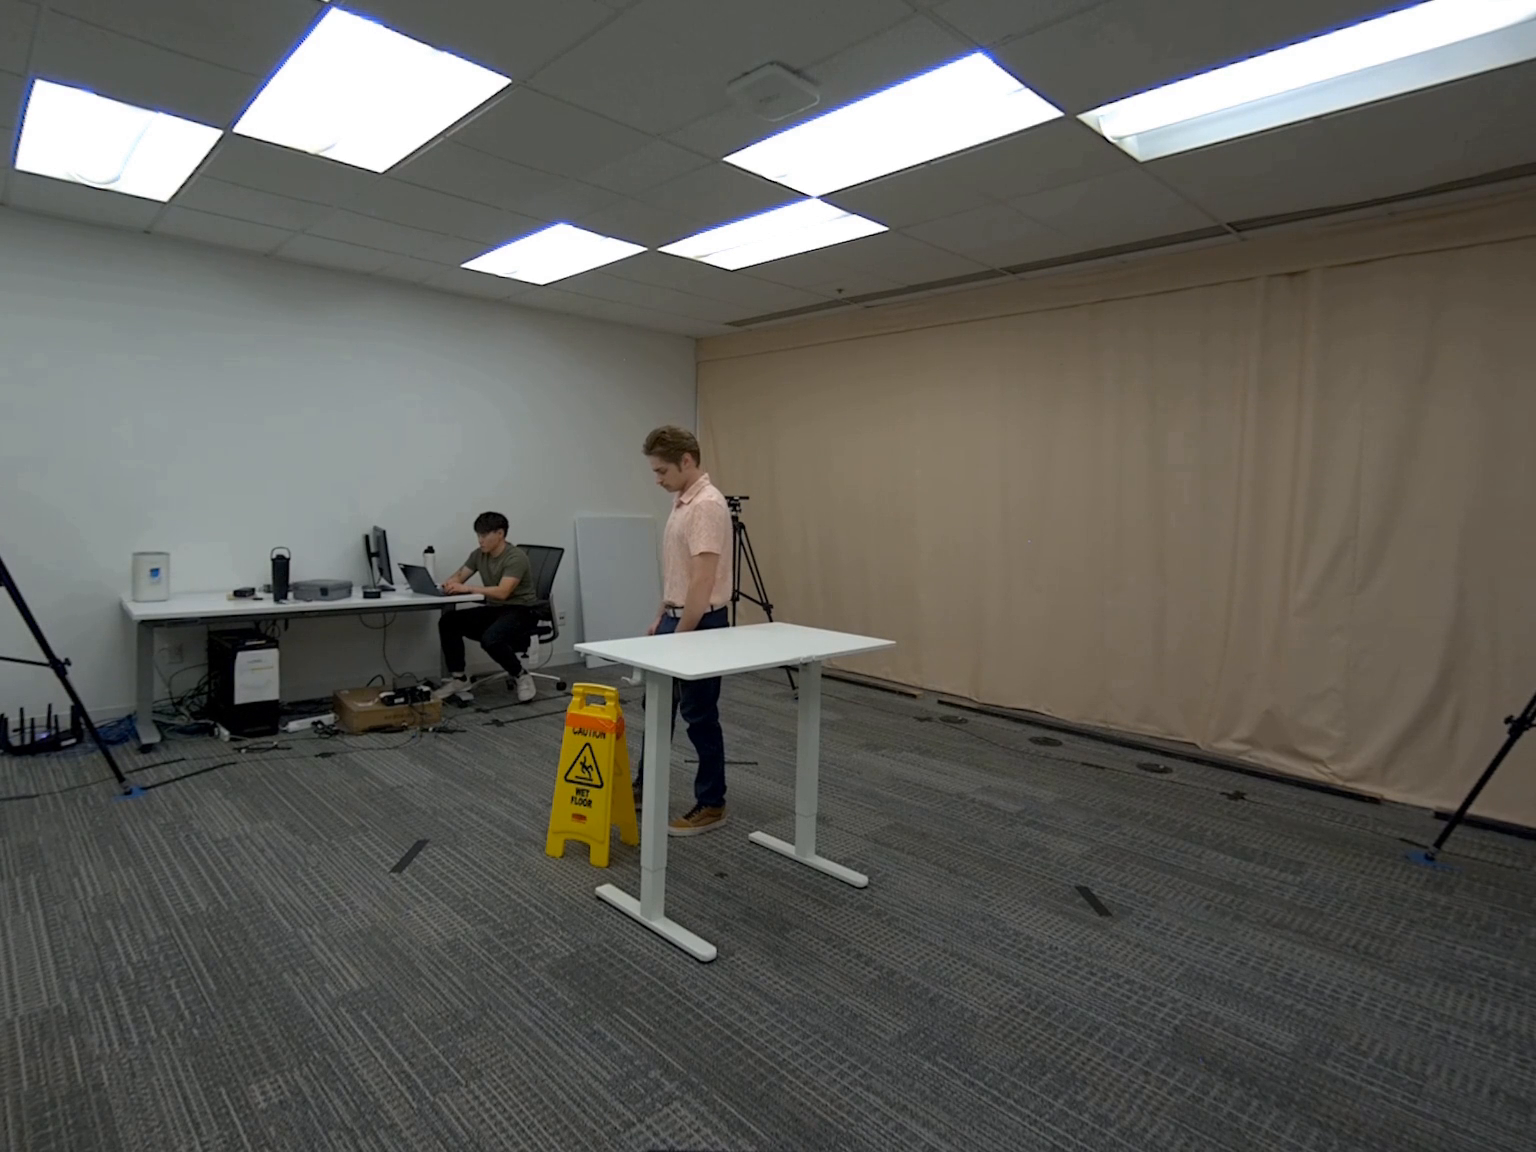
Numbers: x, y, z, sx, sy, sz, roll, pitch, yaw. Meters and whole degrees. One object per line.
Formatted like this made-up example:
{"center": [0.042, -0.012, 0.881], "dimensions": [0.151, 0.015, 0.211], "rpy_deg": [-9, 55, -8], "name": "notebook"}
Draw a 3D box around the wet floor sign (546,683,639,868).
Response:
{"center": [-0.683, 0.751, 3.288], "dimensions": [0.287, 0.644, 0.286], "rpy_deg": [3, 3, 20], "name": "wet floor sign"}
